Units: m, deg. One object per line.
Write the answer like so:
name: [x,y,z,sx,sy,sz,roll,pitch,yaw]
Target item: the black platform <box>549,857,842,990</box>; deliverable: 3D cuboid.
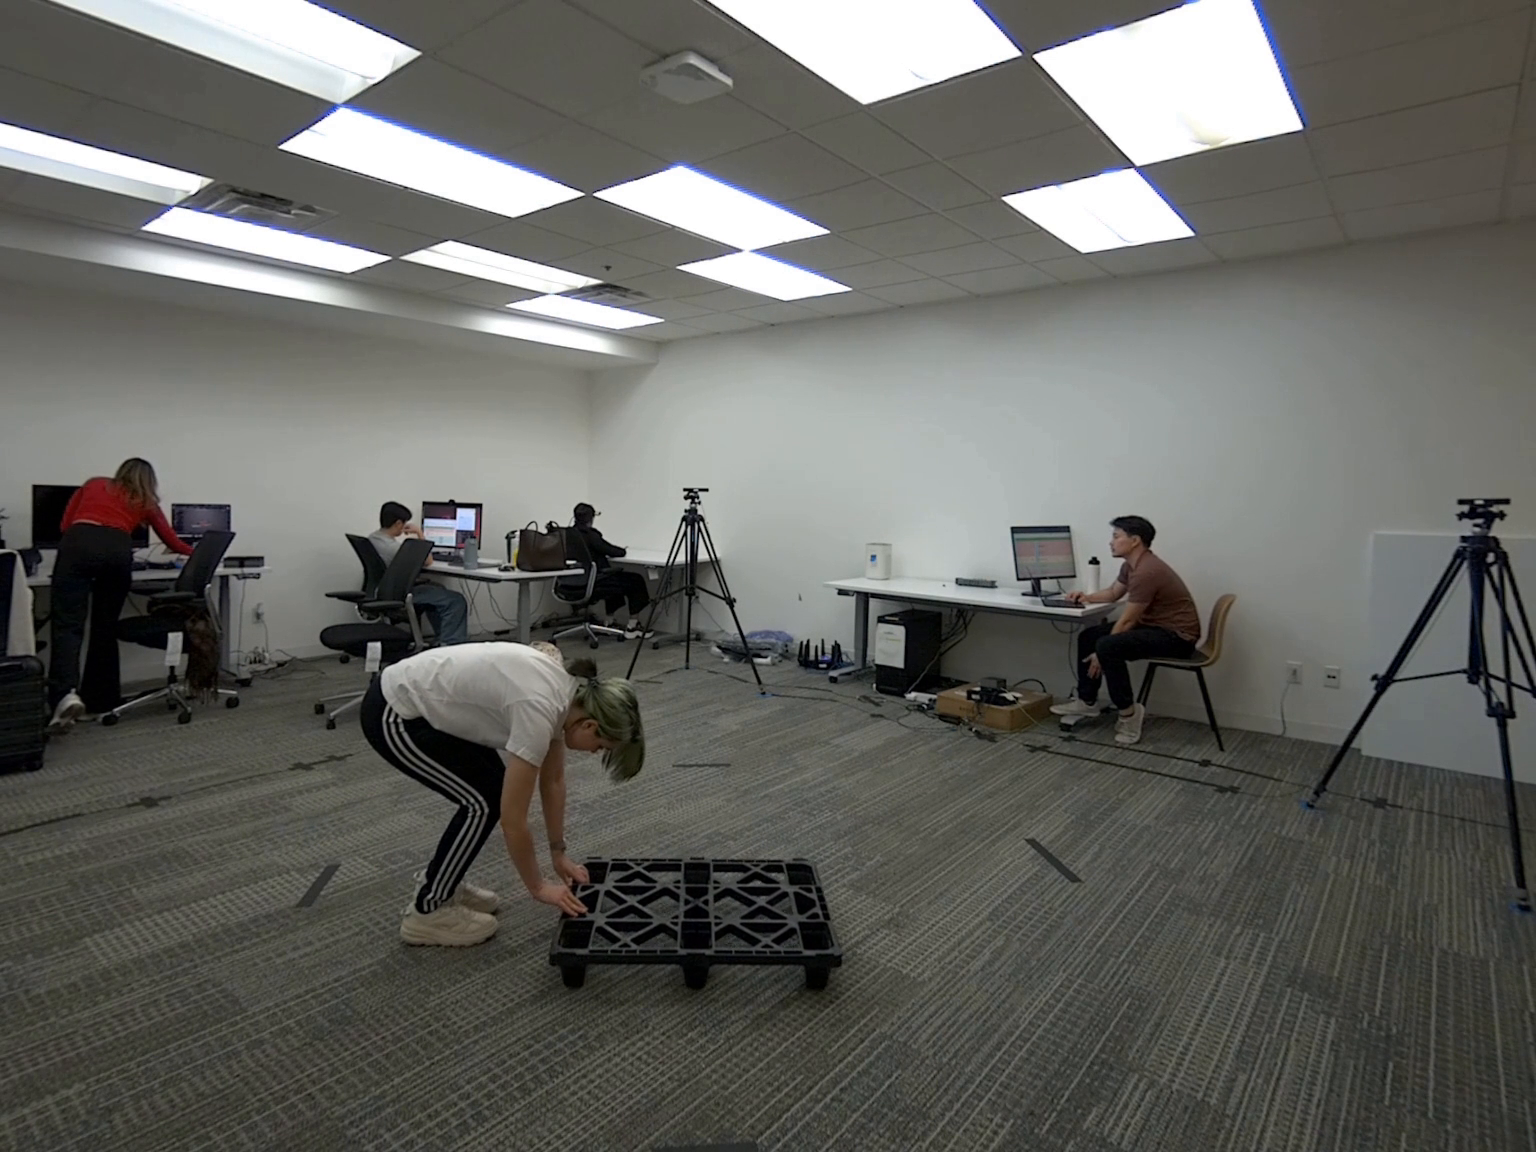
black platform: [-0.227,1.052,2.590,0.804,0.142,0.609,0,7,-2]
